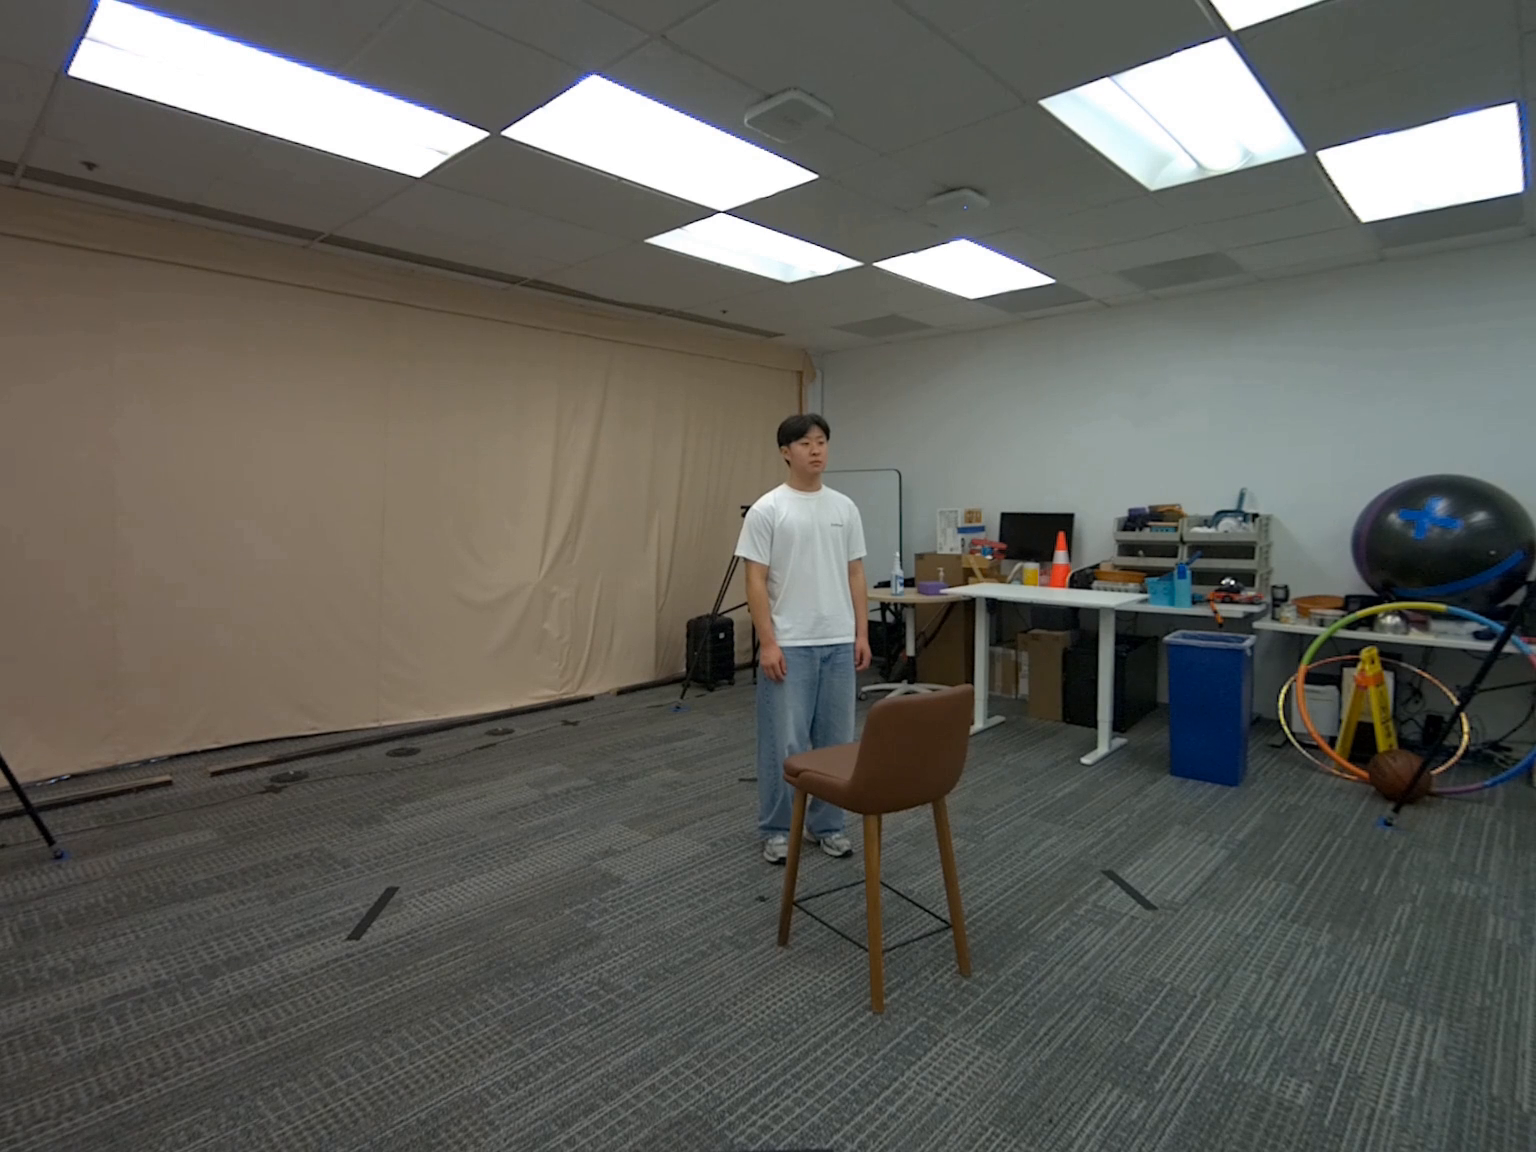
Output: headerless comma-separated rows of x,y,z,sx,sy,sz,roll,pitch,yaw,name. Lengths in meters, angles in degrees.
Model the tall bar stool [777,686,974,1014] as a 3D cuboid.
0.332,0.740,2.562,0.443,0.887,0.482,-2,6,-34,tall bar stool
